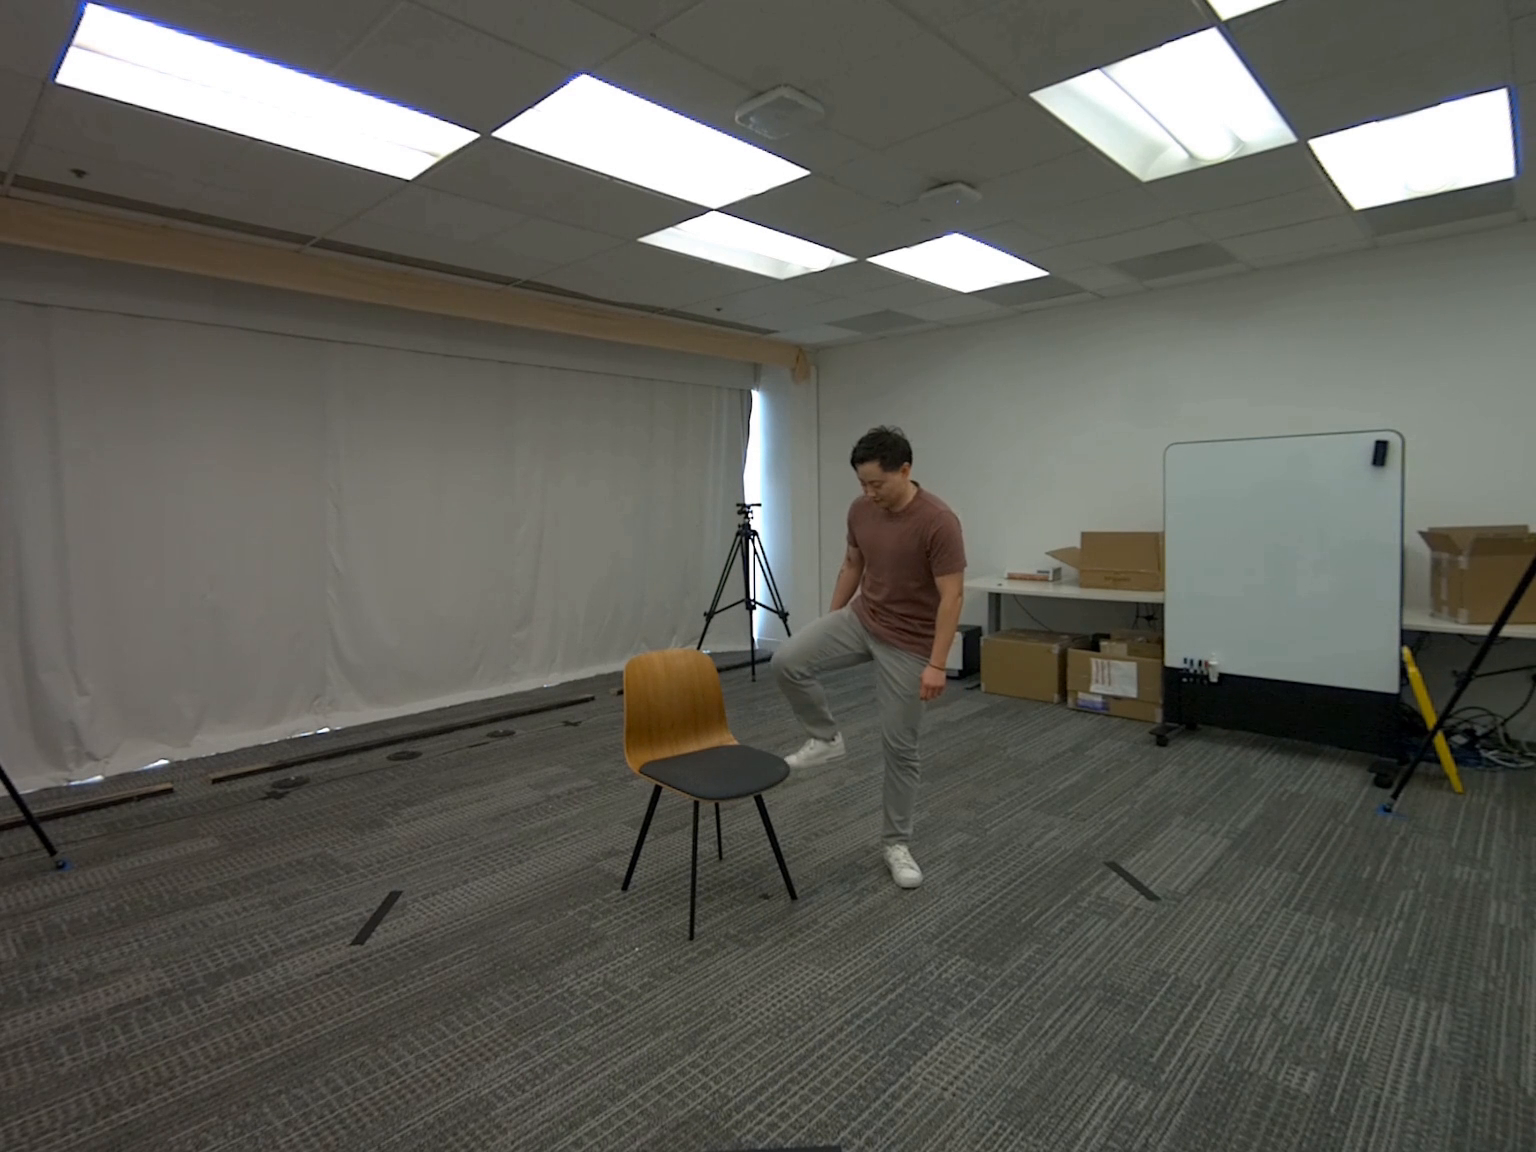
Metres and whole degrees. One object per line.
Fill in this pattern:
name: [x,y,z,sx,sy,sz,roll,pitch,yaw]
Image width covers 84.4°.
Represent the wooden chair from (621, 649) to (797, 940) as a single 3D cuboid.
wooden chair: [-0.217,0.718,2.961,0.464,0.878,0.538,-4,0,-38]
